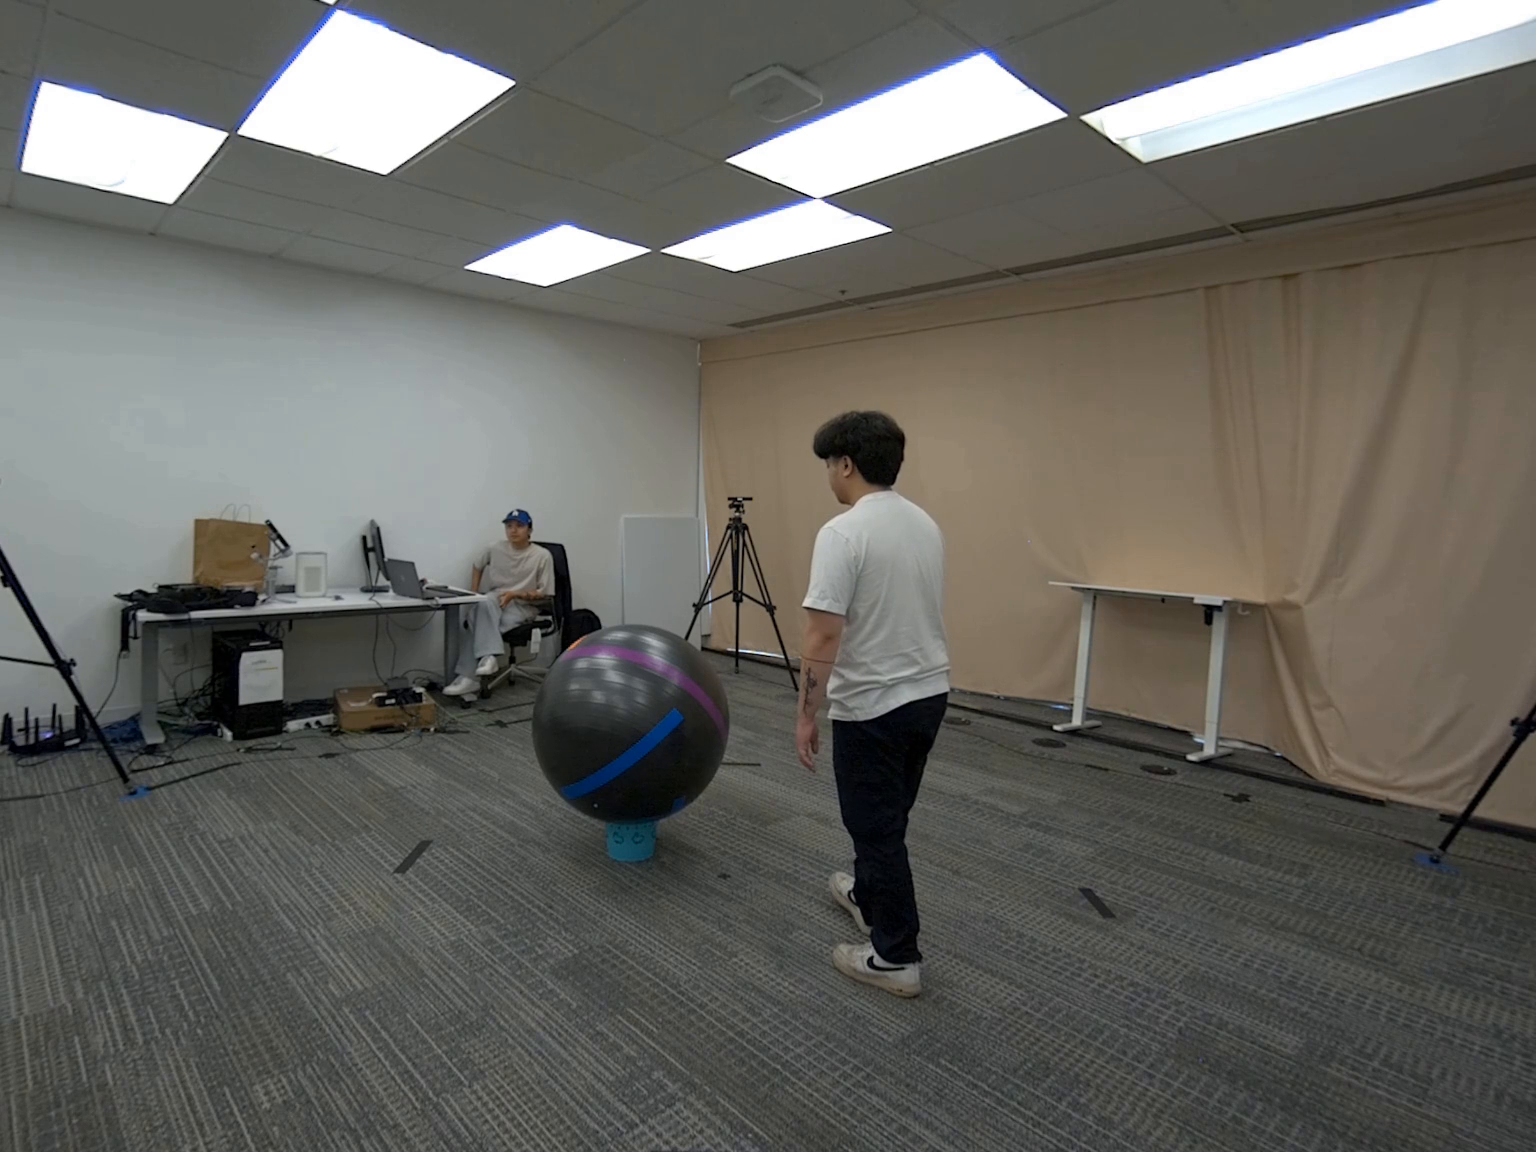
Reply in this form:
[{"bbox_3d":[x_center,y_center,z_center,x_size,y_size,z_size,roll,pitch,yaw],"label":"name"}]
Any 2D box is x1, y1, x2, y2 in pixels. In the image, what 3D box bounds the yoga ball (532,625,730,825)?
[{"bbox_3d":[-0.531,0.571,3.273,0.757,0.756,0.760,1,4,-1],"label":"yoga ball"}]
